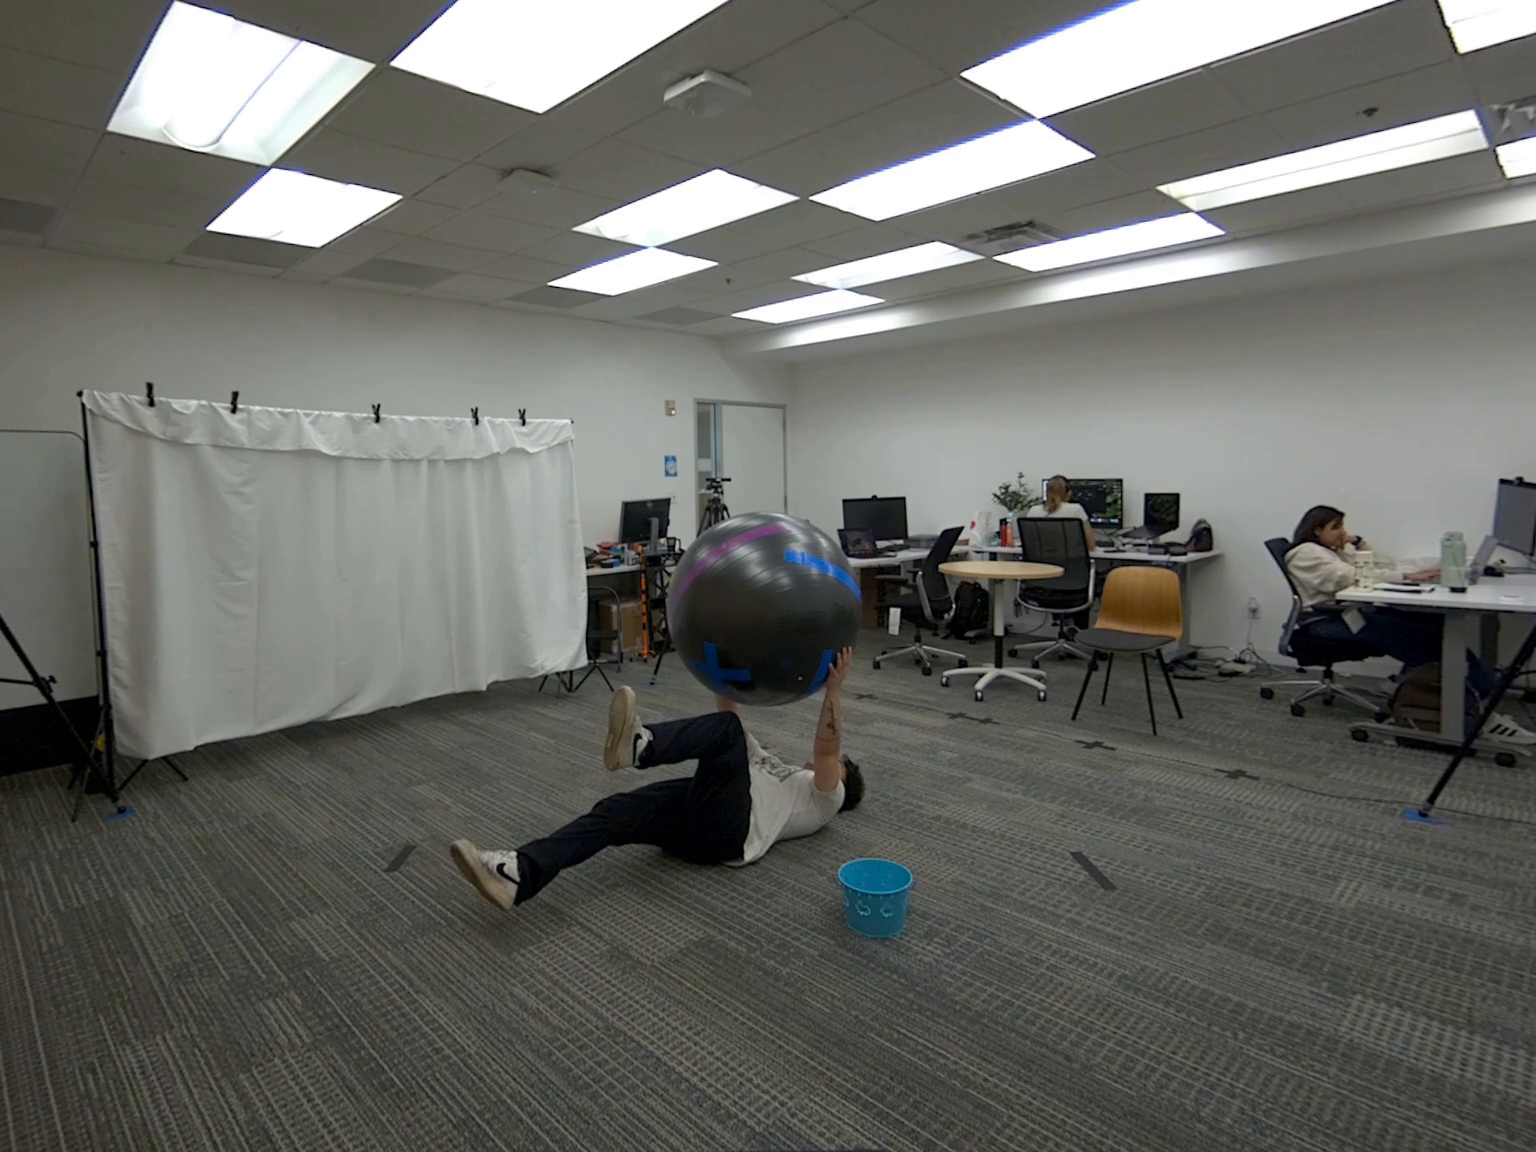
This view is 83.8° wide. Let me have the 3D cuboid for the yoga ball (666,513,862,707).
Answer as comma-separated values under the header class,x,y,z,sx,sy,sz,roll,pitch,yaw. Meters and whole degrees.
class,x,y,z,sx,sy,sz,roll,pitch,yaw
yoga ball,-0.016,0.132,3.346,0.757,0.755,0.762,-1,5,-2
